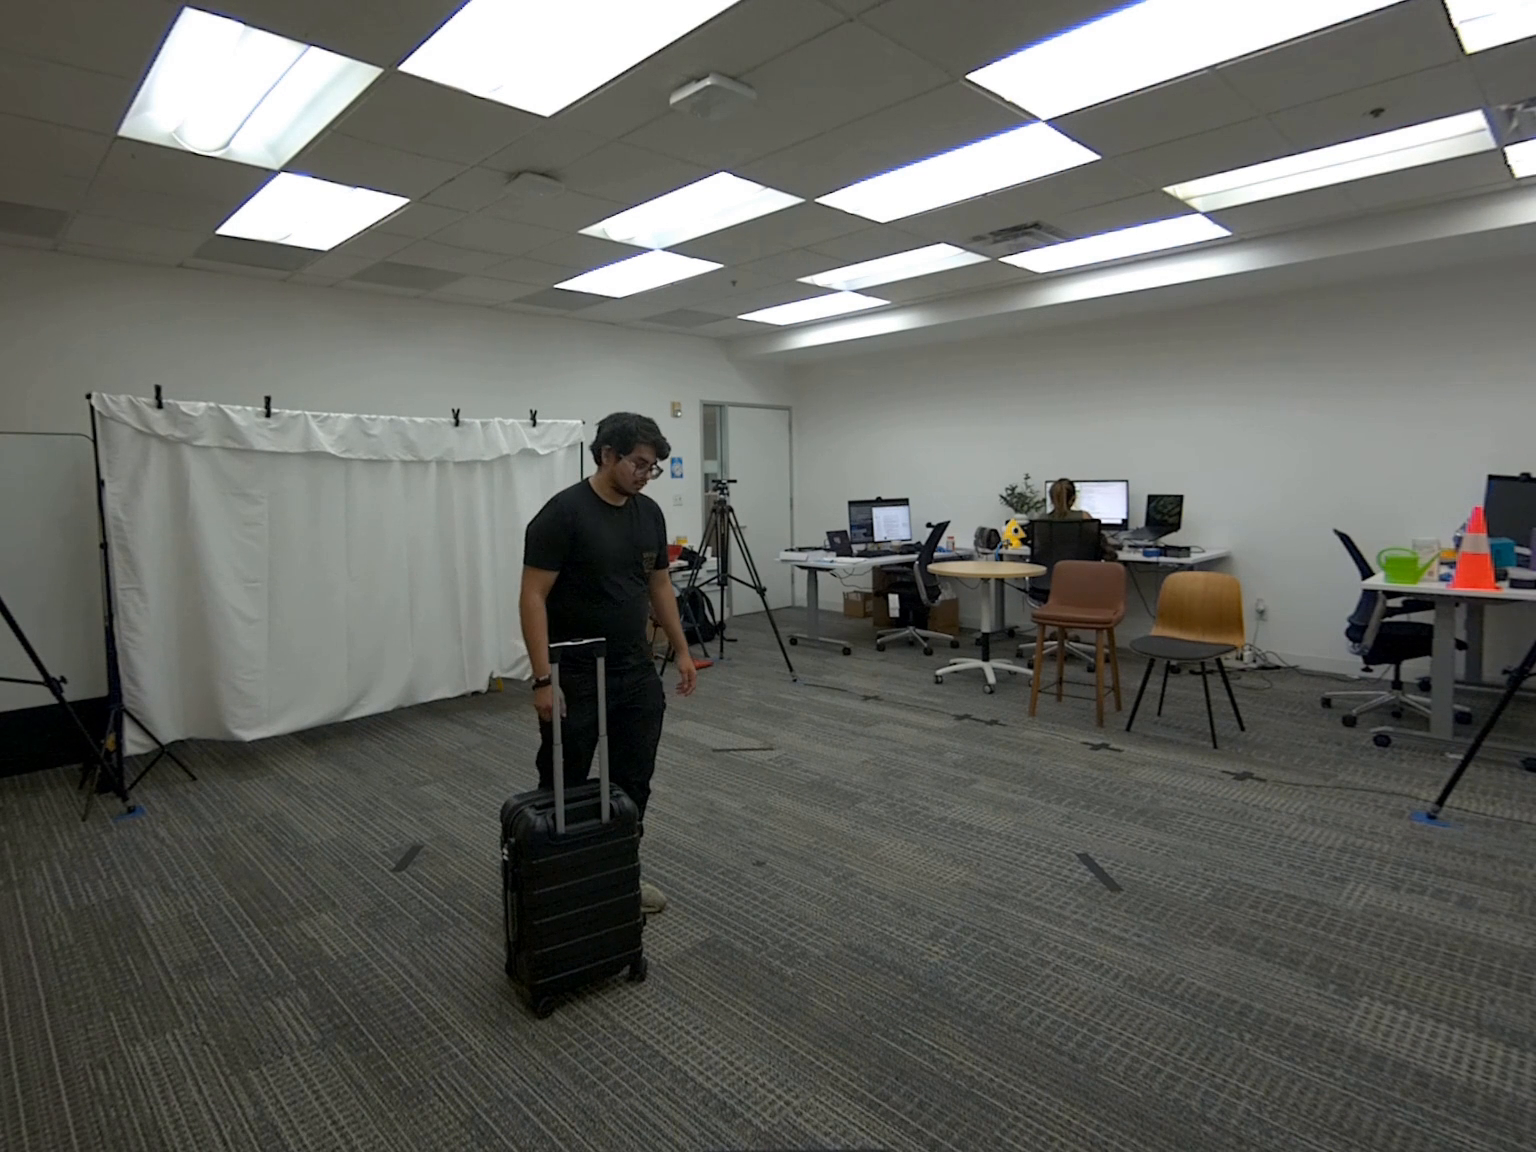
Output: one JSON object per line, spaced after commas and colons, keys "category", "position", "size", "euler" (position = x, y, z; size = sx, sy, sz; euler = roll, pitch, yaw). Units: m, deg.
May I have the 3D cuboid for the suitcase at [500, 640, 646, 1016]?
{"category": "suitcase", "position": [-0.556, 0.668, 2.369], "size": [0.375, 0.975, 0.264], "euler": [-4, 5, -33]}
